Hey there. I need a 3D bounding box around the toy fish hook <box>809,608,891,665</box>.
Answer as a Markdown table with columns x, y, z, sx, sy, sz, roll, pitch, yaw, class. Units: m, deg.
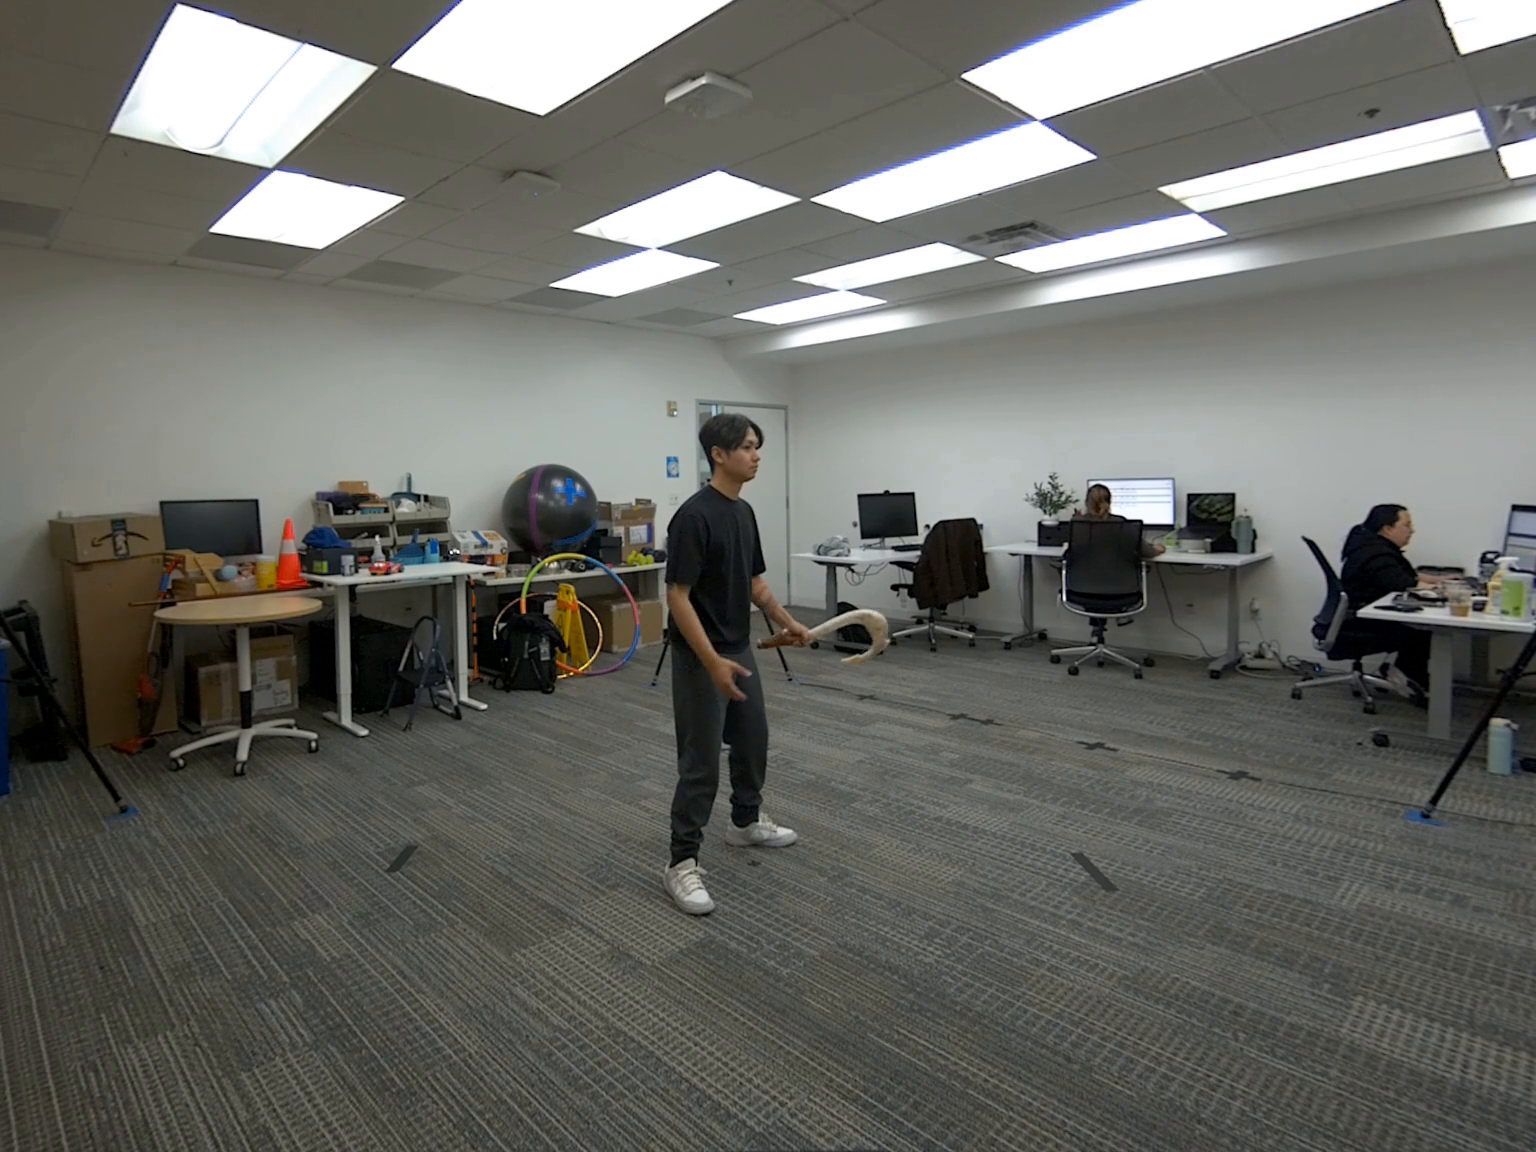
| x | y | z | sx | sy | sz | roll | pitch | yaw | class |
| --- | --- | --- | --- | --- | --- | --- | --- | --- | --- |
| 0.204 | 0.243 | 3.243 | 0.506 | 0.221 | 0.049 | -11 | 16 | -2 | toy fish hook |
